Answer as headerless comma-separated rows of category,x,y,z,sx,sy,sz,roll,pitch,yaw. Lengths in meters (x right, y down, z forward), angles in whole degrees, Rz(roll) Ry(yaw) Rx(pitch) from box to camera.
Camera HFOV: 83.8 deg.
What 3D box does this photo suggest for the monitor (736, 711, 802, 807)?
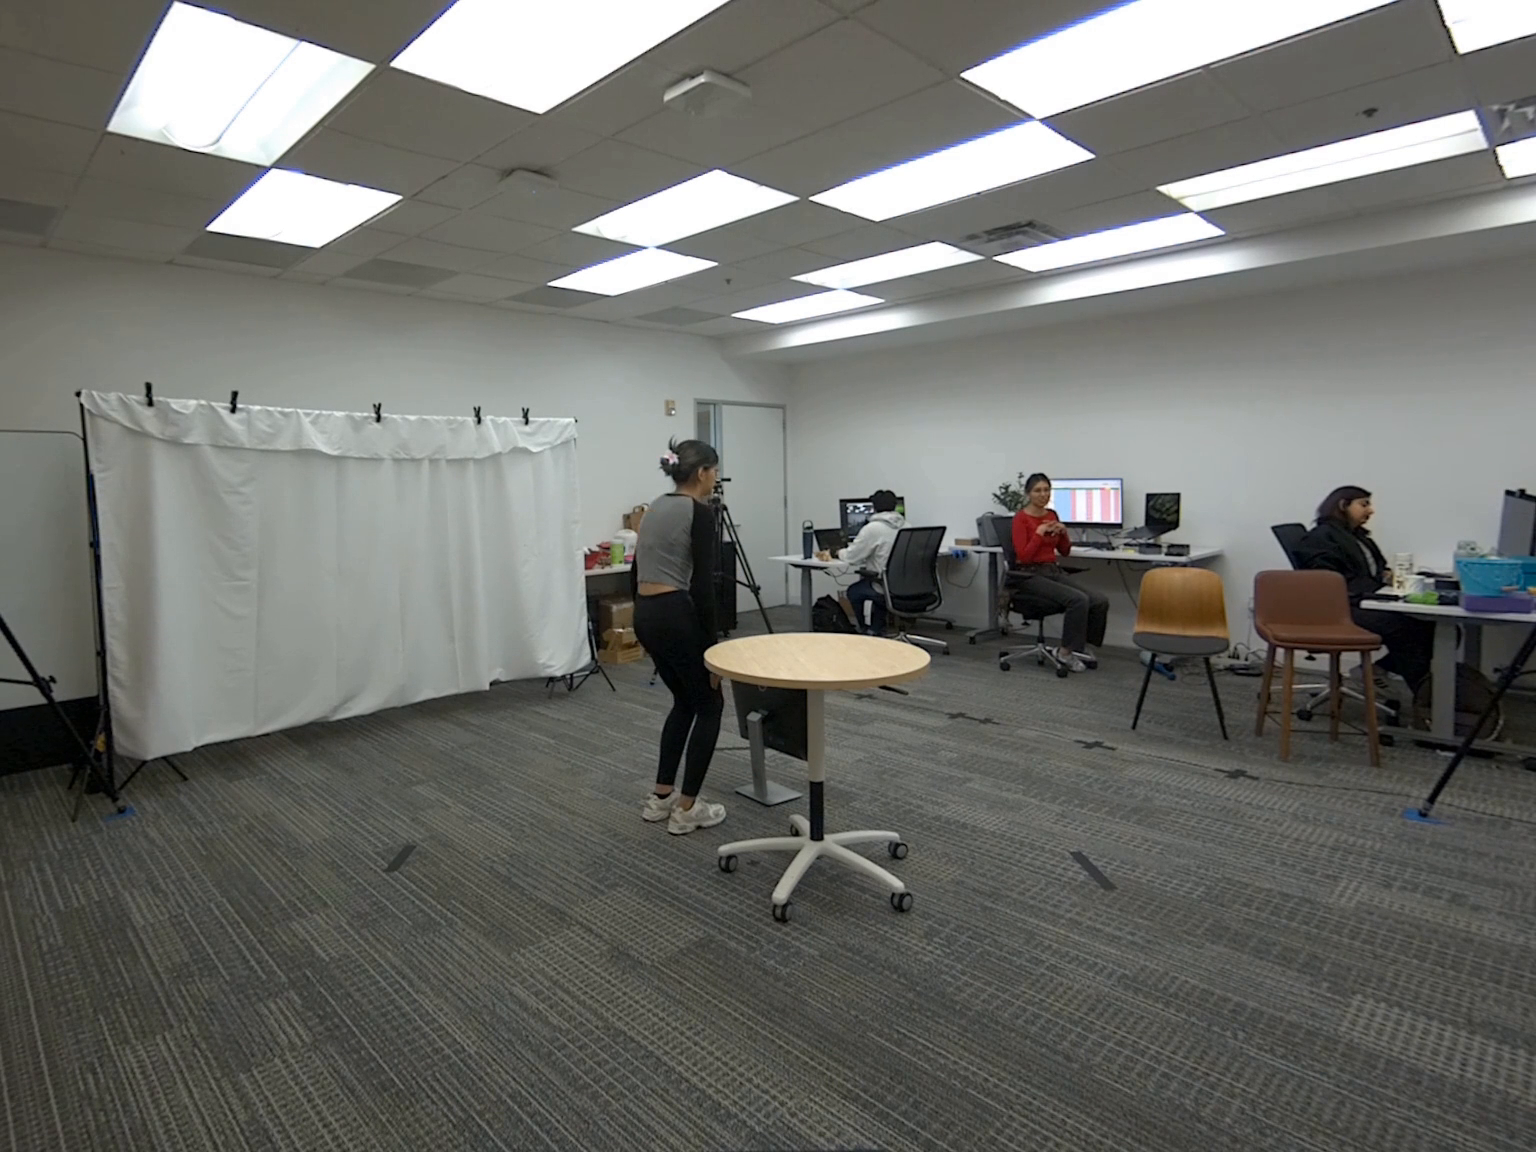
monitor,0.000,0.705,3.774,0.182,0.522,0.555,0,3,-40
